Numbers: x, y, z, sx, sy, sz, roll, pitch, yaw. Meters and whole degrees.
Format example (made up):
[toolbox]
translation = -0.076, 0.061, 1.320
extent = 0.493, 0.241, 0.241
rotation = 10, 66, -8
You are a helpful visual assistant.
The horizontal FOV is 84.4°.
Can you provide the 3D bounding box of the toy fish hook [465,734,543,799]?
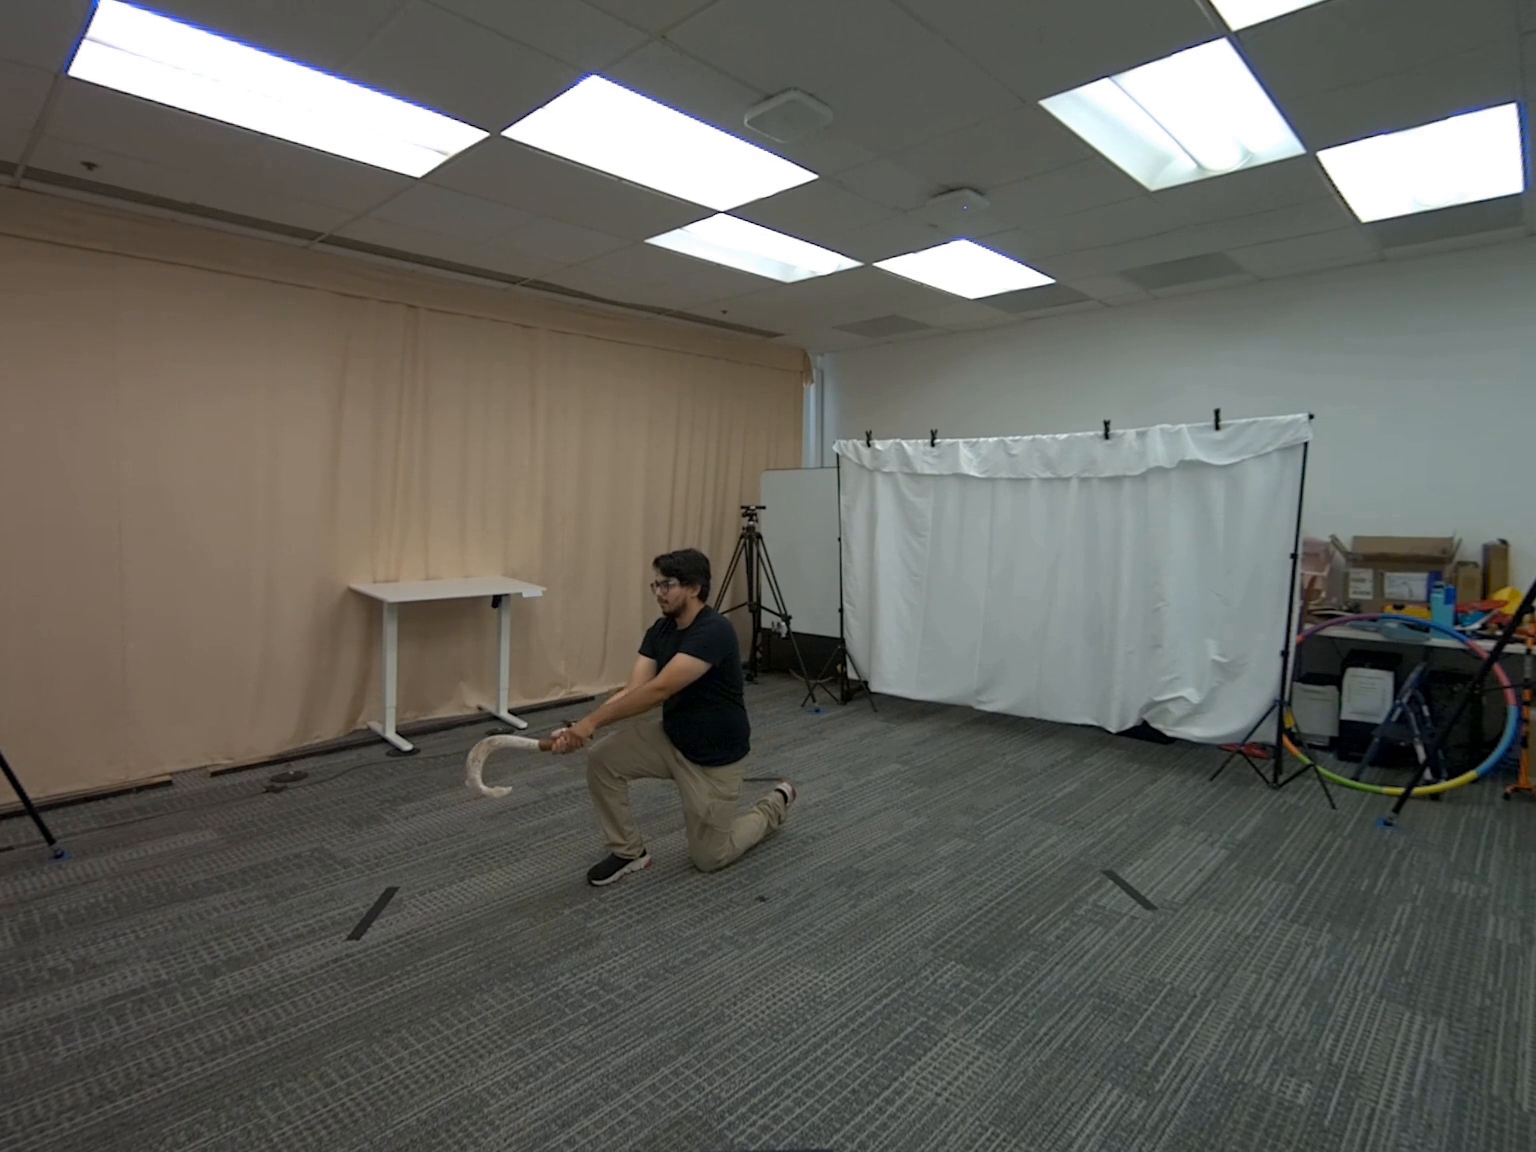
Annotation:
[toy fish hook]
translation = -0.852, 0.659, 3.005
extent = 0.514, 0.228, 0.047
rotation = -12, -23, 15
